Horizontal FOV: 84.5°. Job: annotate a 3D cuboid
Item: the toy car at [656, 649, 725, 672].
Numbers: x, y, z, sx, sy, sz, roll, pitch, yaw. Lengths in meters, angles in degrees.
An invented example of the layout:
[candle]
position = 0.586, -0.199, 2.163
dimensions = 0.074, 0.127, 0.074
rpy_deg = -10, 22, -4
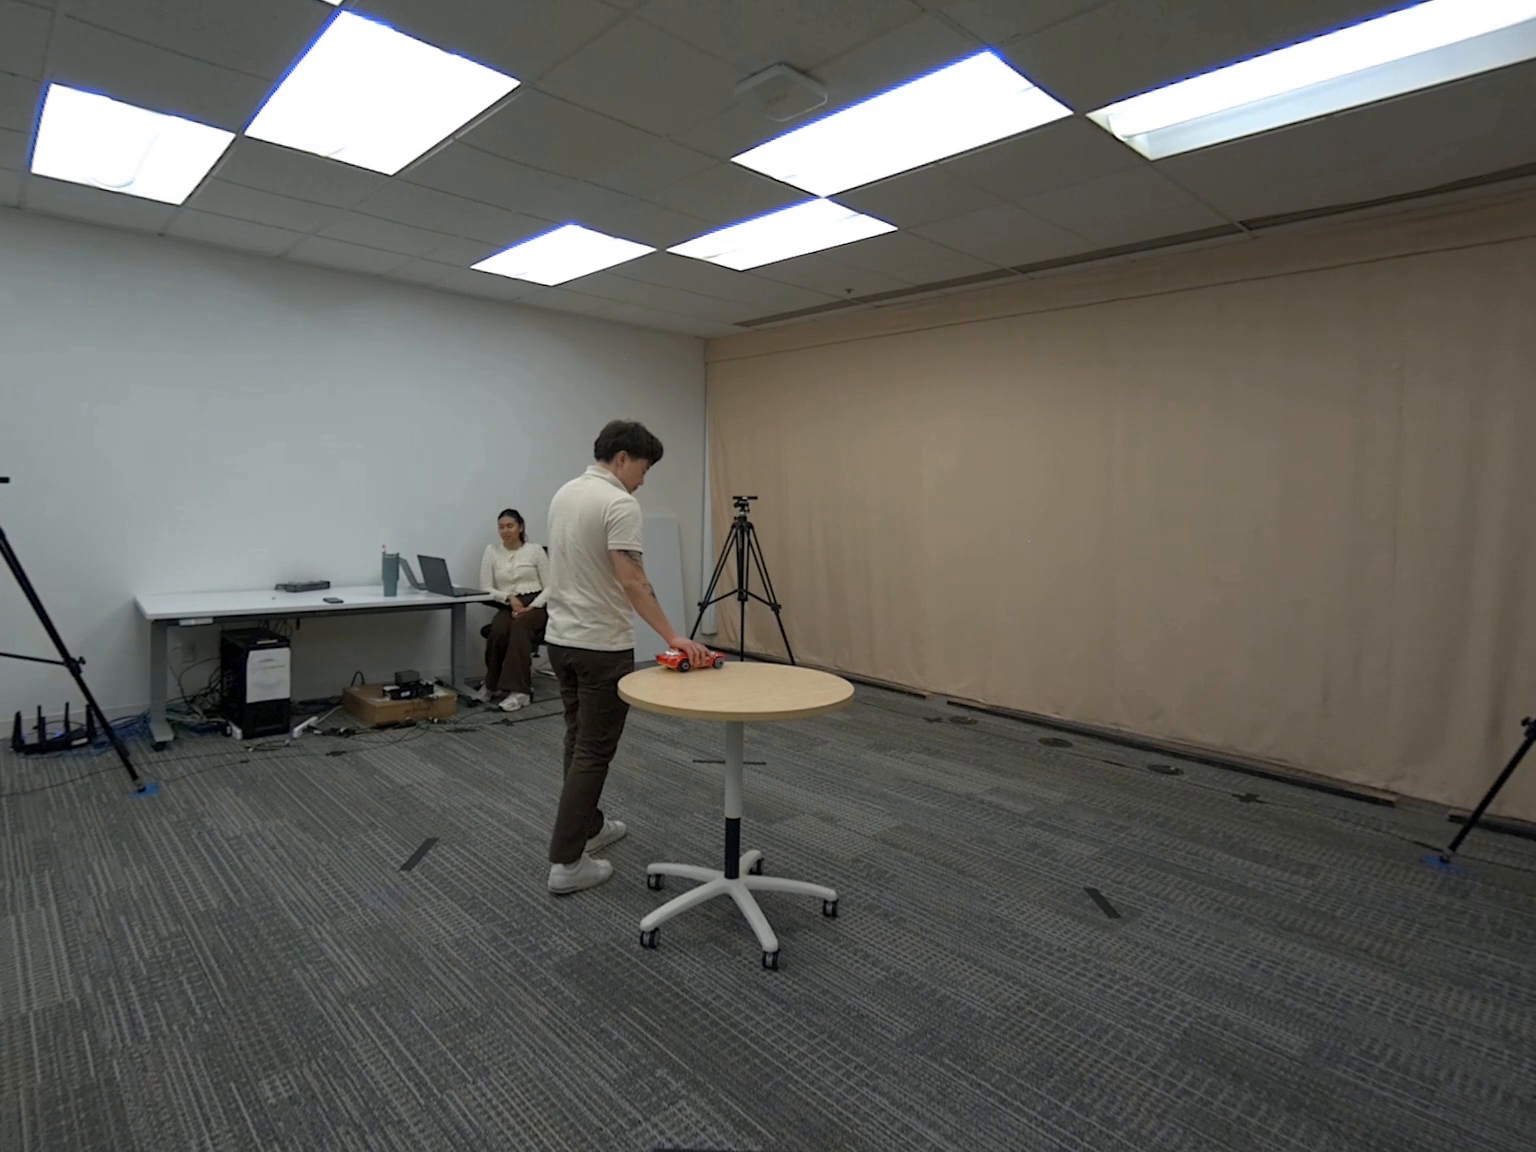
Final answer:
[toy car]
position = -0.293, 0.300, 2.973
dimensions = 0.248, 0.083, 0.133
rpy_deg = 12, -3, -37
